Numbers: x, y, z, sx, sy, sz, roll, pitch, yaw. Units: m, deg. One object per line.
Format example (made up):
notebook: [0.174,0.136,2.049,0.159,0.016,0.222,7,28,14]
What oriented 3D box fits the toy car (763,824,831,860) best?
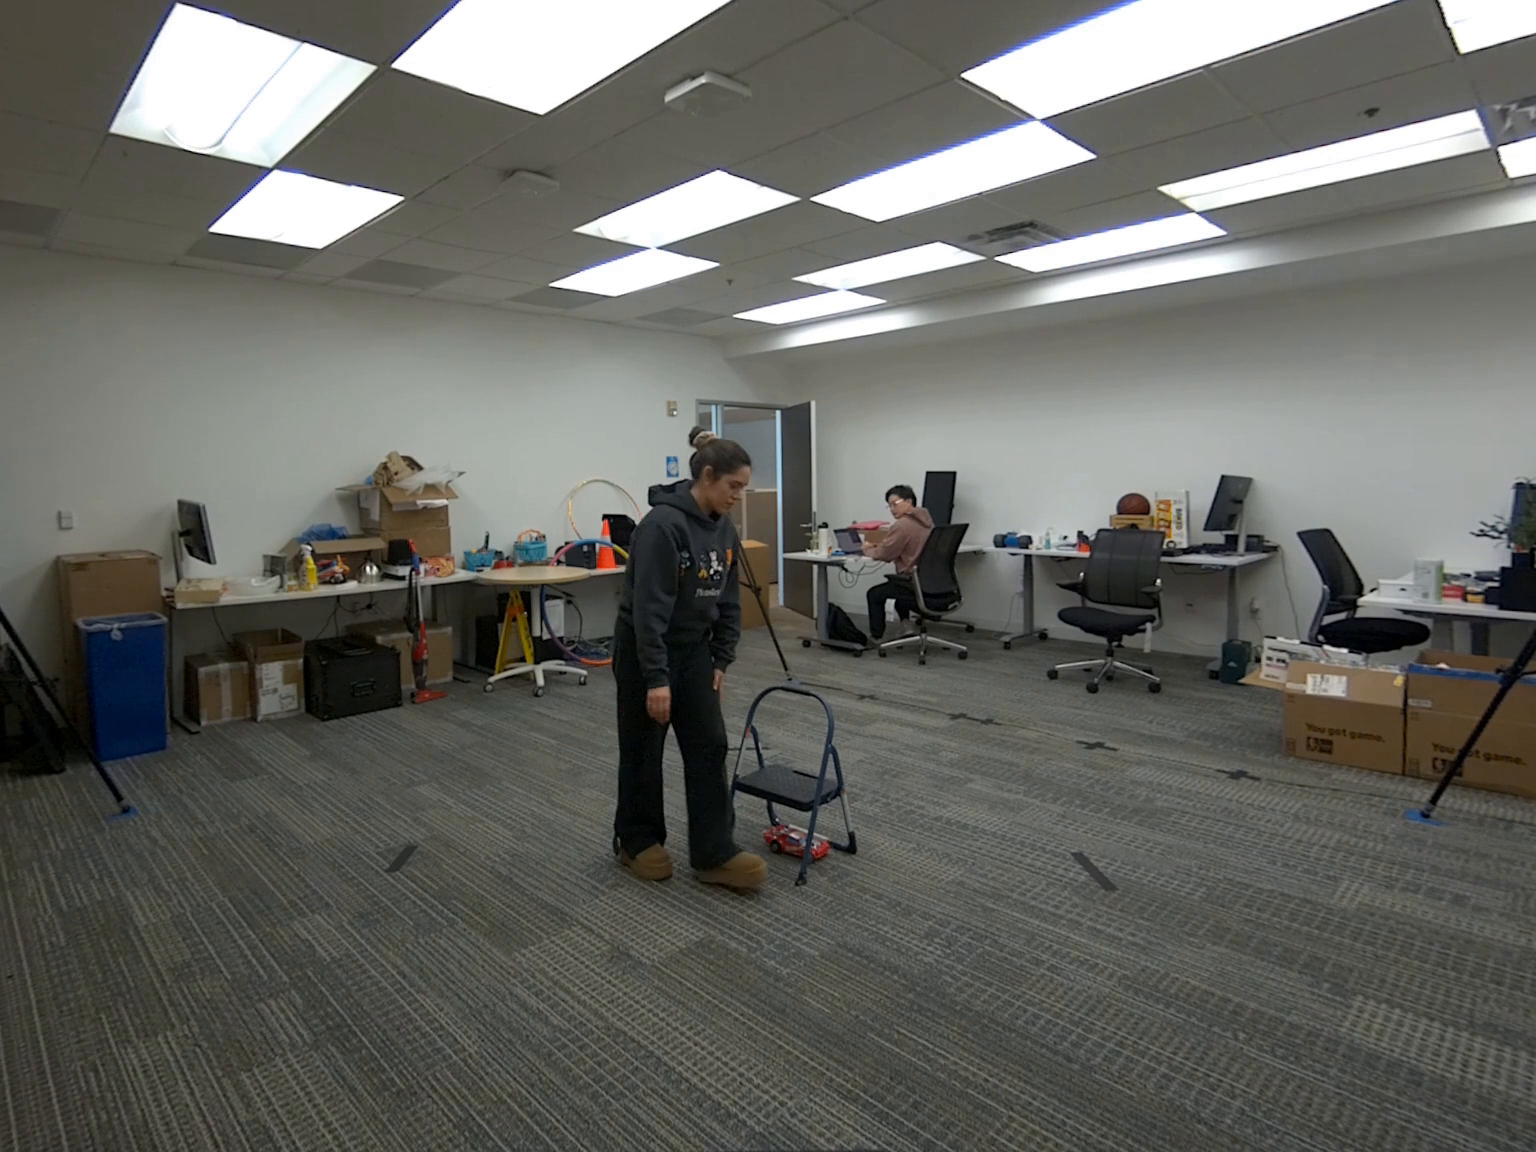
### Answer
toy car: [0.107,1.004,3.190,0.263,0.082,0.127,16,14,35]
